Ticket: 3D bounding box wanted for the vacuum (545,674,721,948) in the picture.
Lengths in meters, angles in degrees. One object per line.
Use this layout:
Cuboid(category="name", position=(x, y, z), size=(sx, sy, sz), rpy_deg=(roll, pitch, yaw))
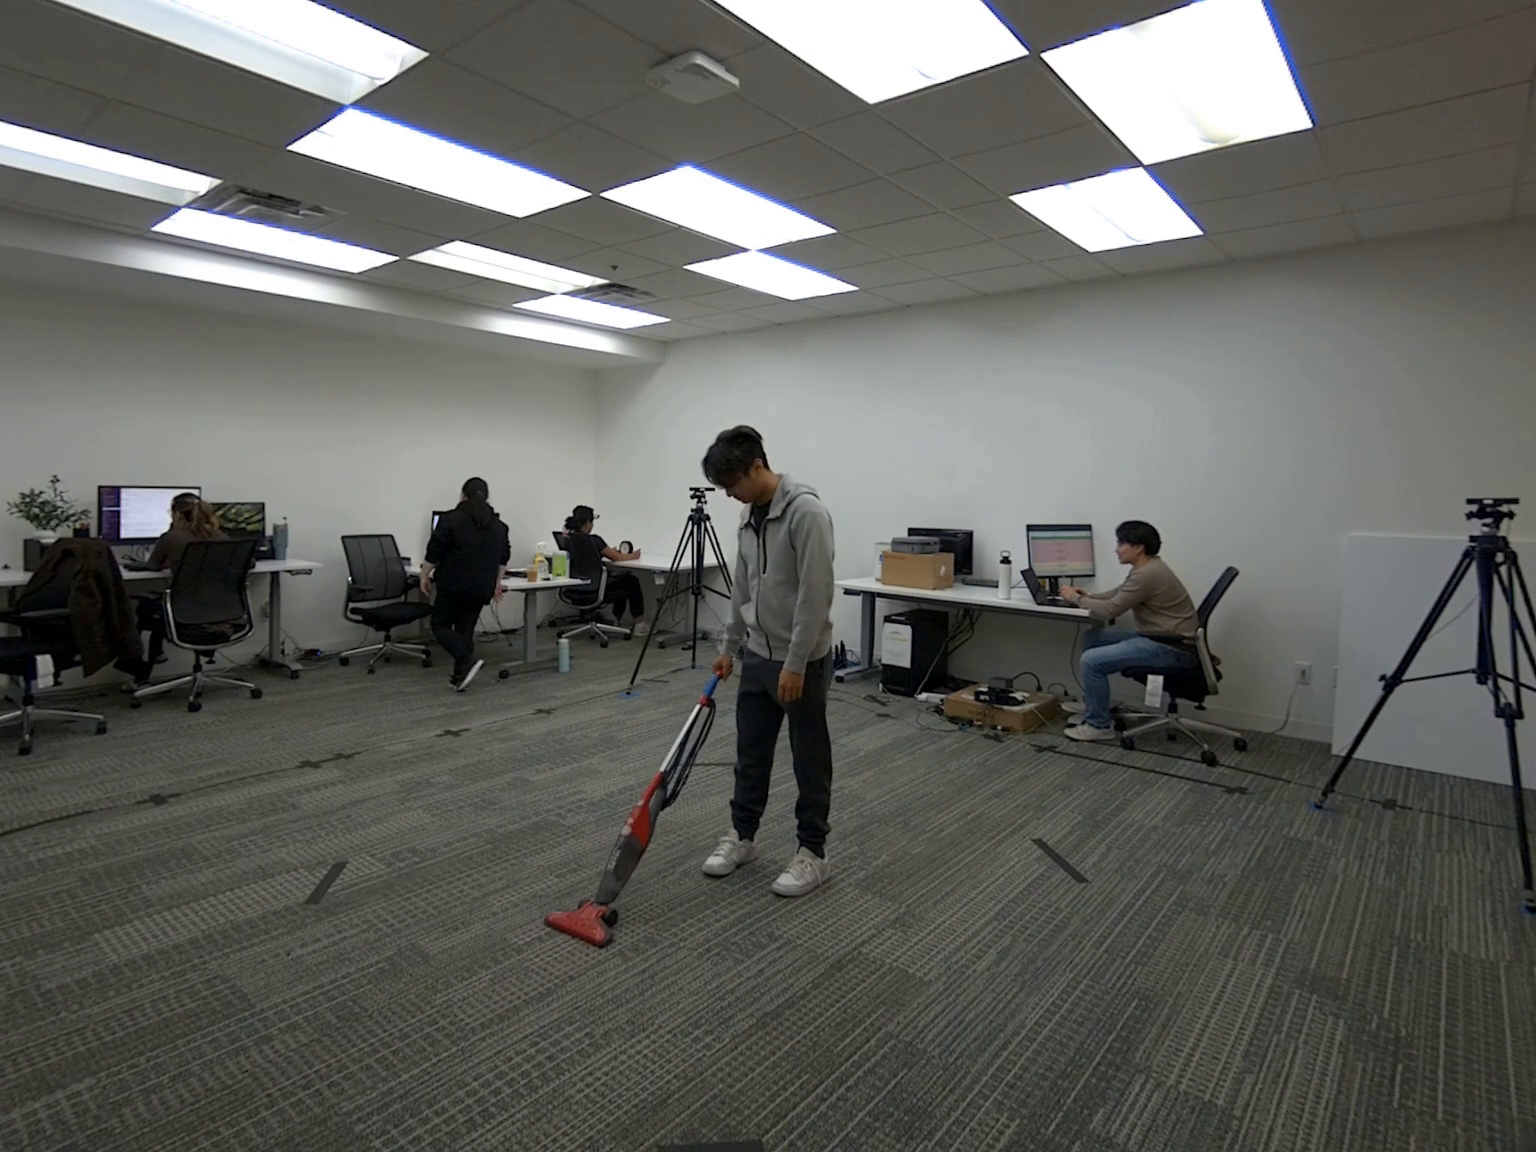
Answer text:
Cuboid(category="vacuum", position=(-0.367, 0.729, 2.972), size=(0.260, 0.139, 1.056), rpy_deg=(6, 47, 30))
